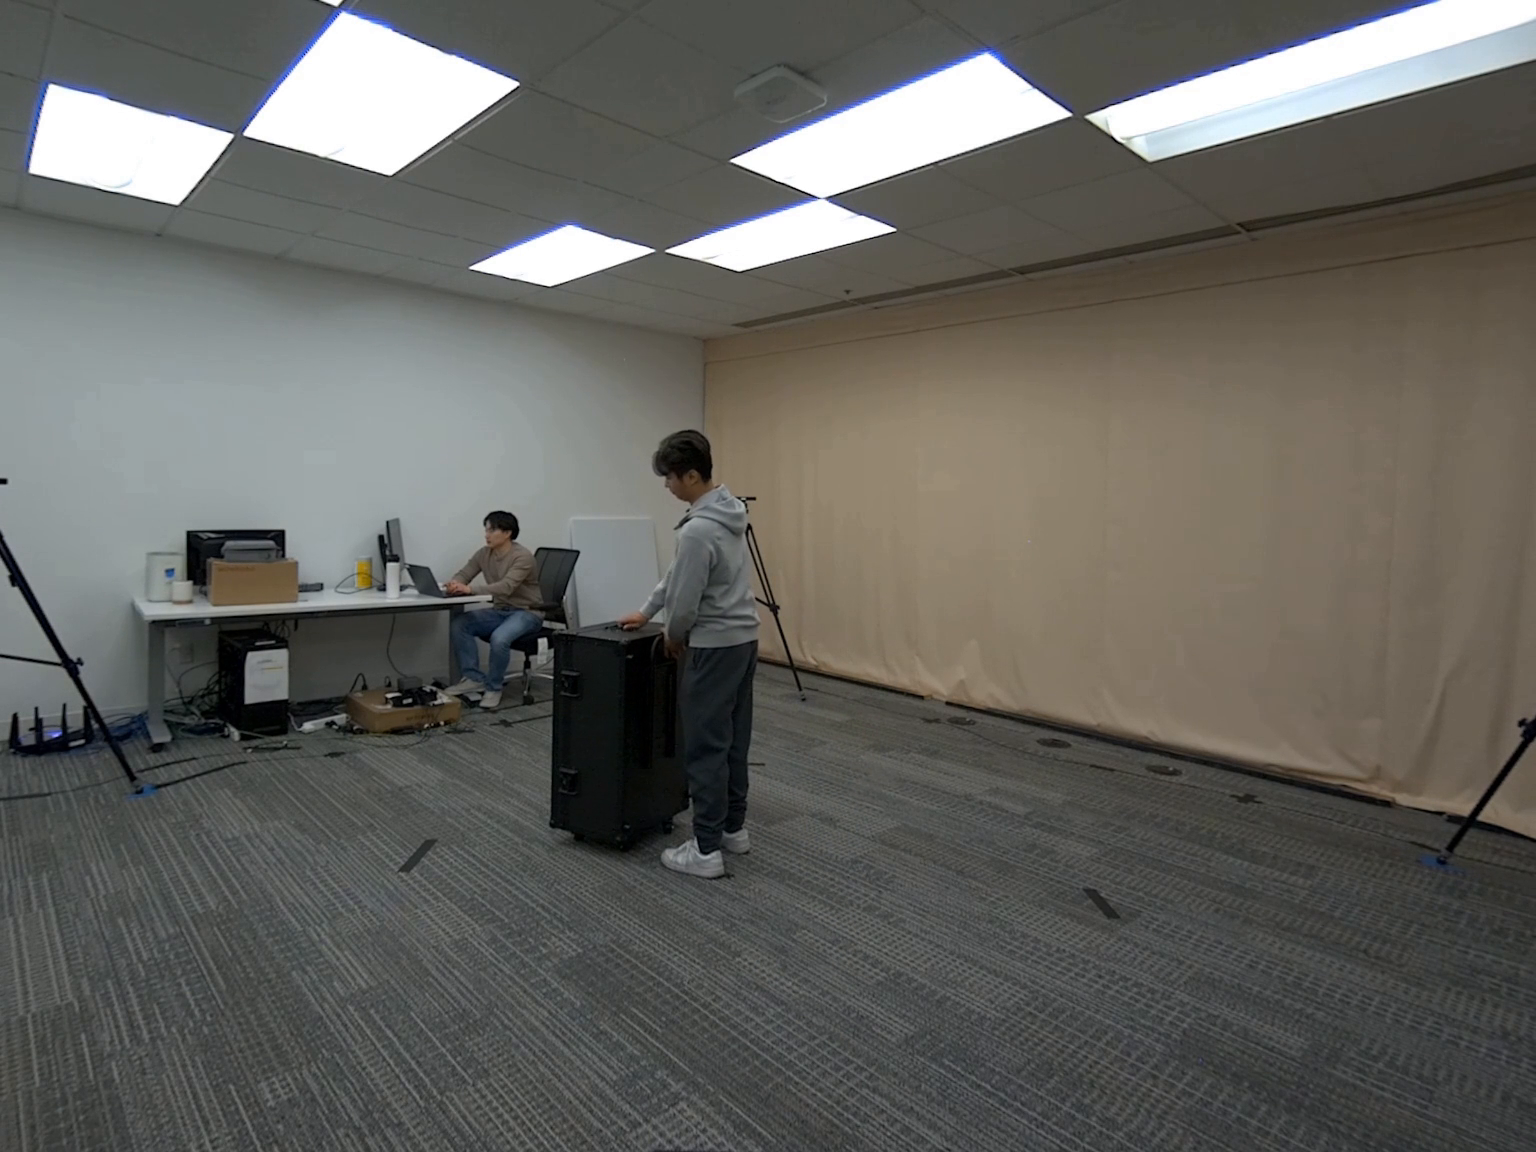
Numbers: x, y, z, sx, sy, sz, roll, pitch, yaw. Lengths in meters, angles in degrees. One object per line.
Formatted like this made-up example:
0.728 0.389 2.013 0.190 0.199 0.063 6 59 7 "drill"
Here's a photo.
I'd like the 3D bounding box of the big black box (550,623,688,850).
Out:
-0.586 0.639 3.453 0.405 0.859 0.511 5 5 28 "big black box"
